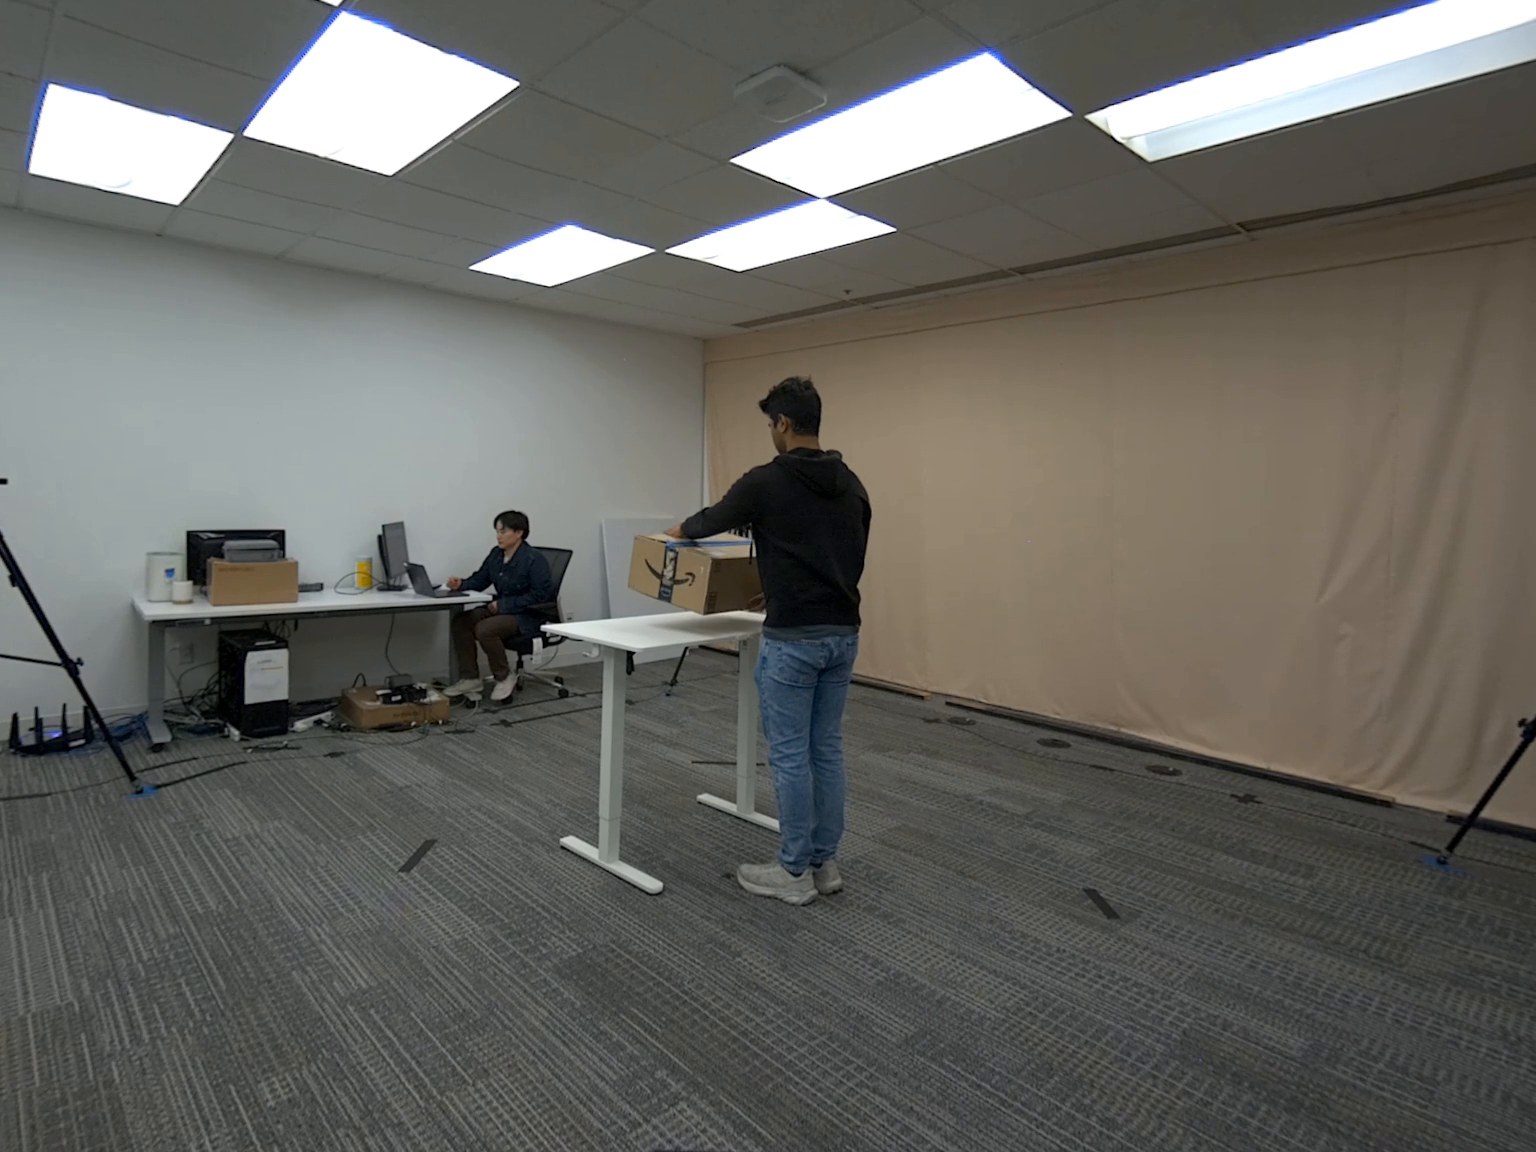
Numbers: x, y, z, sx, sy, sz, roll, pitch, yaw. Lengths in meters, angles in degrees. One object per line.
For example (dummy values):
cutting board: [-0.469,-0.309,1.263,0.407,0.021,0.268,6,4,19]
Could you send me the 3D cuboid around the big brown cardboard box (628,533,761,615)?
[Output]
big brown cardboard box: [-0.207,-0.027,3.367,0.429,0.232,0.576,16,12,37]
